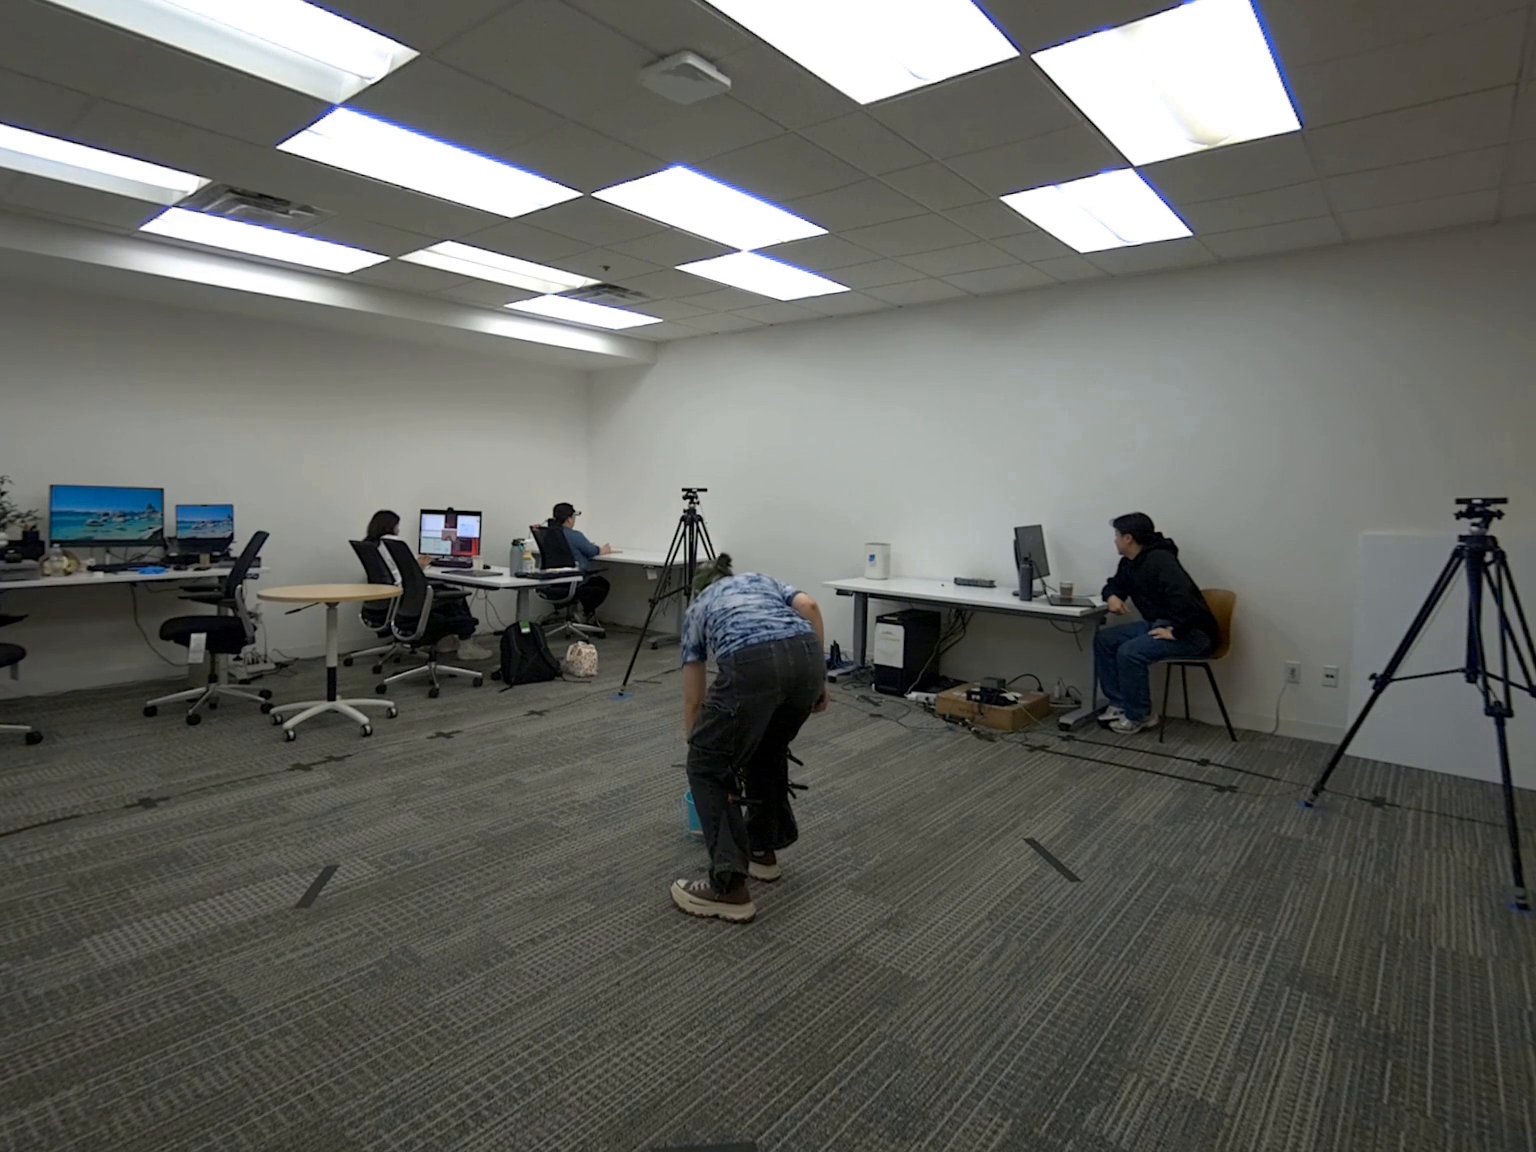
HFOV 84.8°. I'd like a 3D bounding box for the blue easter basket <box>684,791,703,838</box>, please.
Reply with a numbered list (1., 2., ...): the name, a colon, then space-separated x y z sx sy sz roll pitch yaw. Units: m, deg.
1. blue easter basket: -0.236 0.952 3.432 0.243 0.155 0.245 1 5 -2
